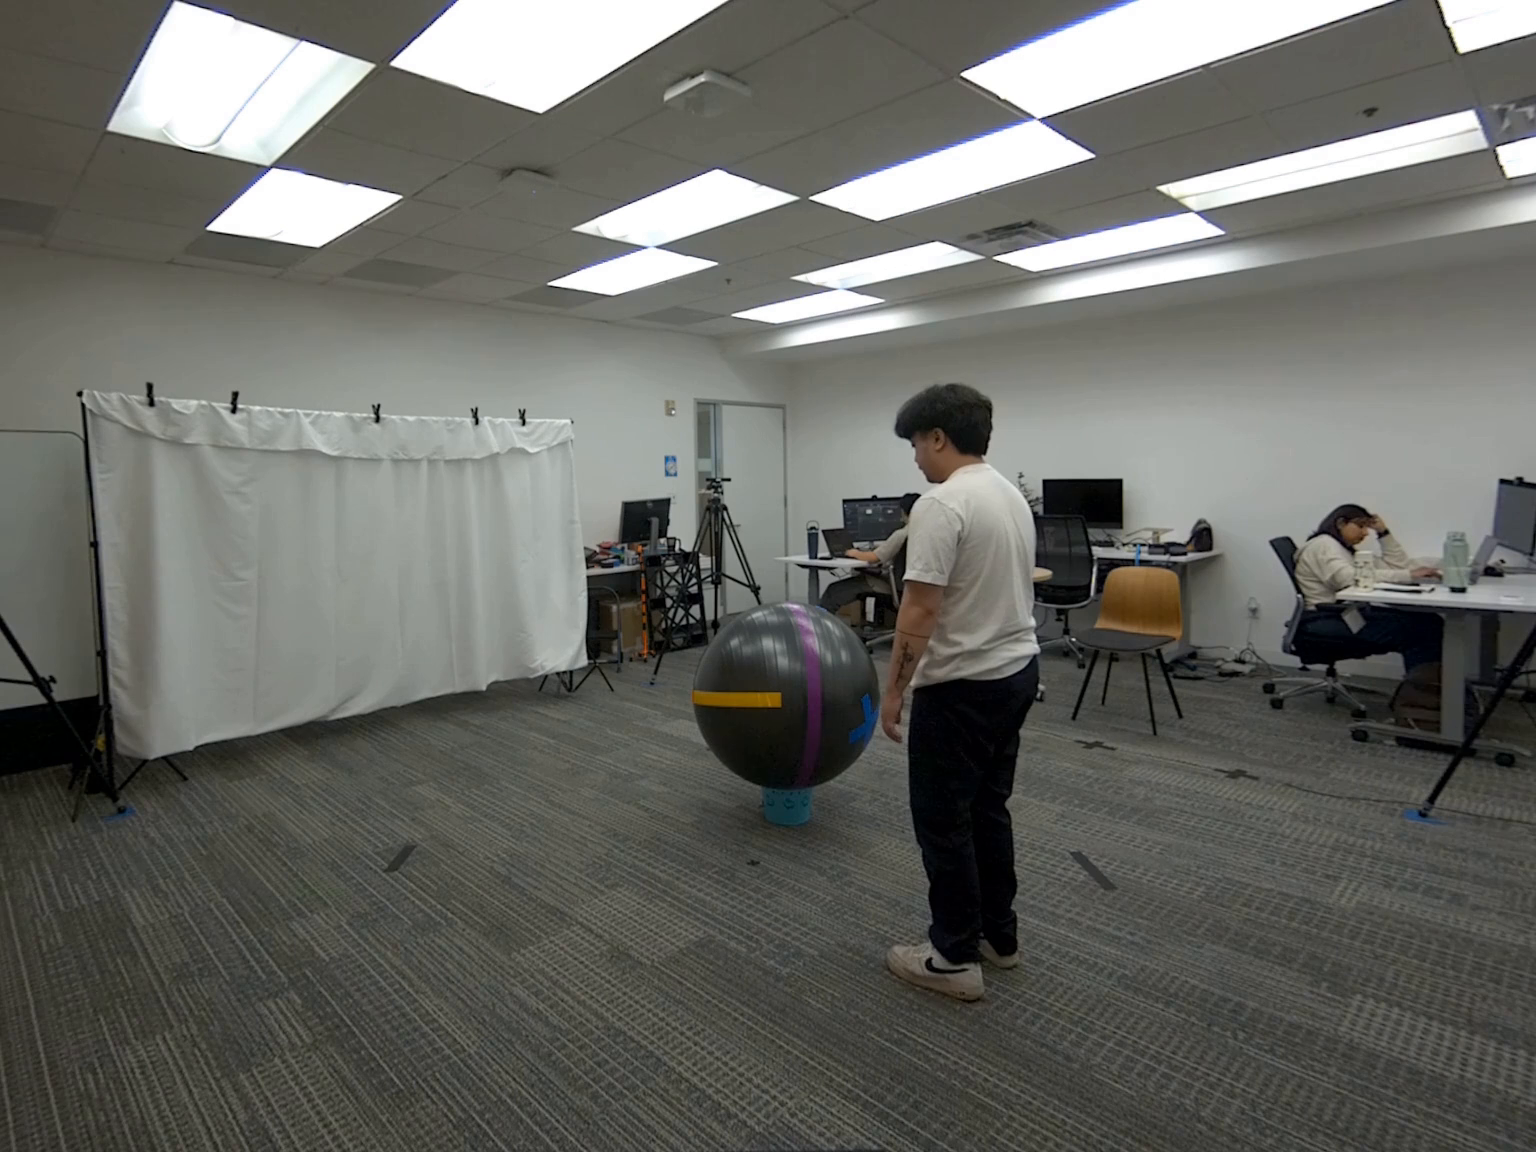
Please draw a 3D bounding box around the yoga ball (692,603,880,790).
[{"bbox_3d":[0.073,0.483,3.499,0.757,0.755,0.762,-1,5,-2],"label":"yoga ball"}]
